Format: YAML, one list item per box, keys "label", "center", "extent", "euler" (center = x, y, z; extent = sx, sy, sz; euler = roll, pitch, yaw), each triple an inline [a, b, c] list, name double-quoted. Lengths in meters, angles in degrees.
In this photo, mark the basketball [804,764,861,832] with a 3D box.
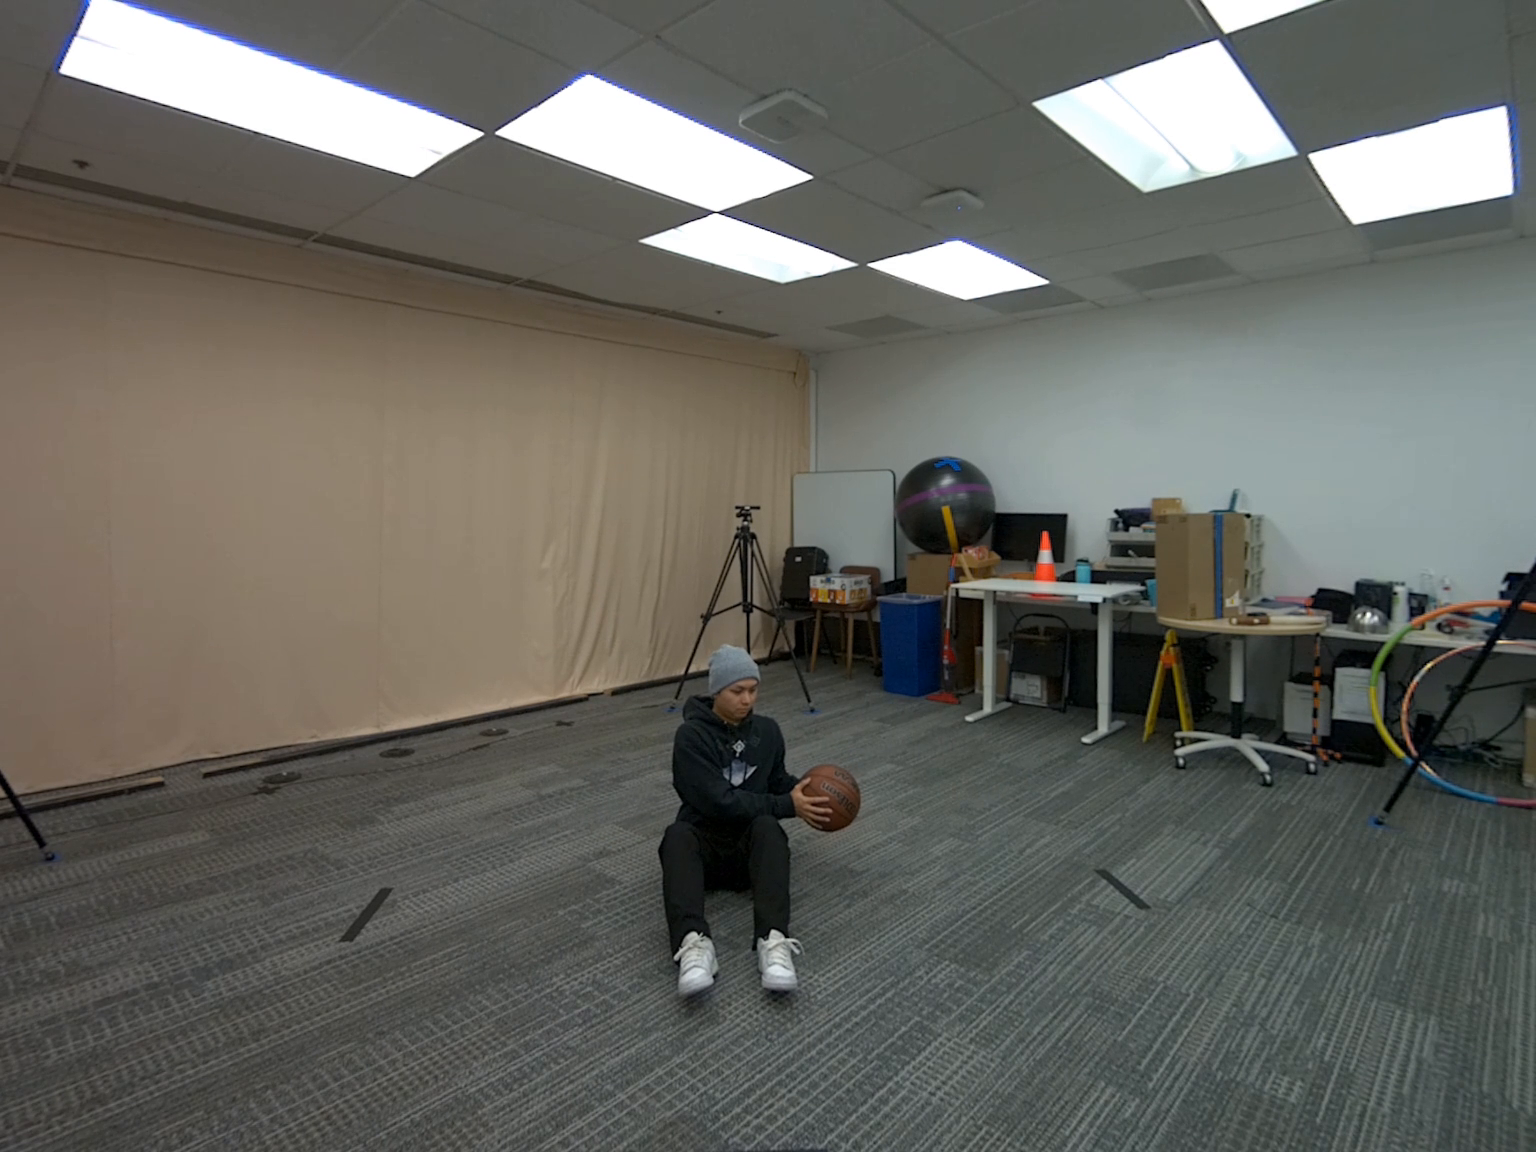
- label: "basketball"
  center: [0.218, 0.808, 3.061]
  extent: [0.236, 0.235, 0.237]
  euler: [0, 4, -2]
